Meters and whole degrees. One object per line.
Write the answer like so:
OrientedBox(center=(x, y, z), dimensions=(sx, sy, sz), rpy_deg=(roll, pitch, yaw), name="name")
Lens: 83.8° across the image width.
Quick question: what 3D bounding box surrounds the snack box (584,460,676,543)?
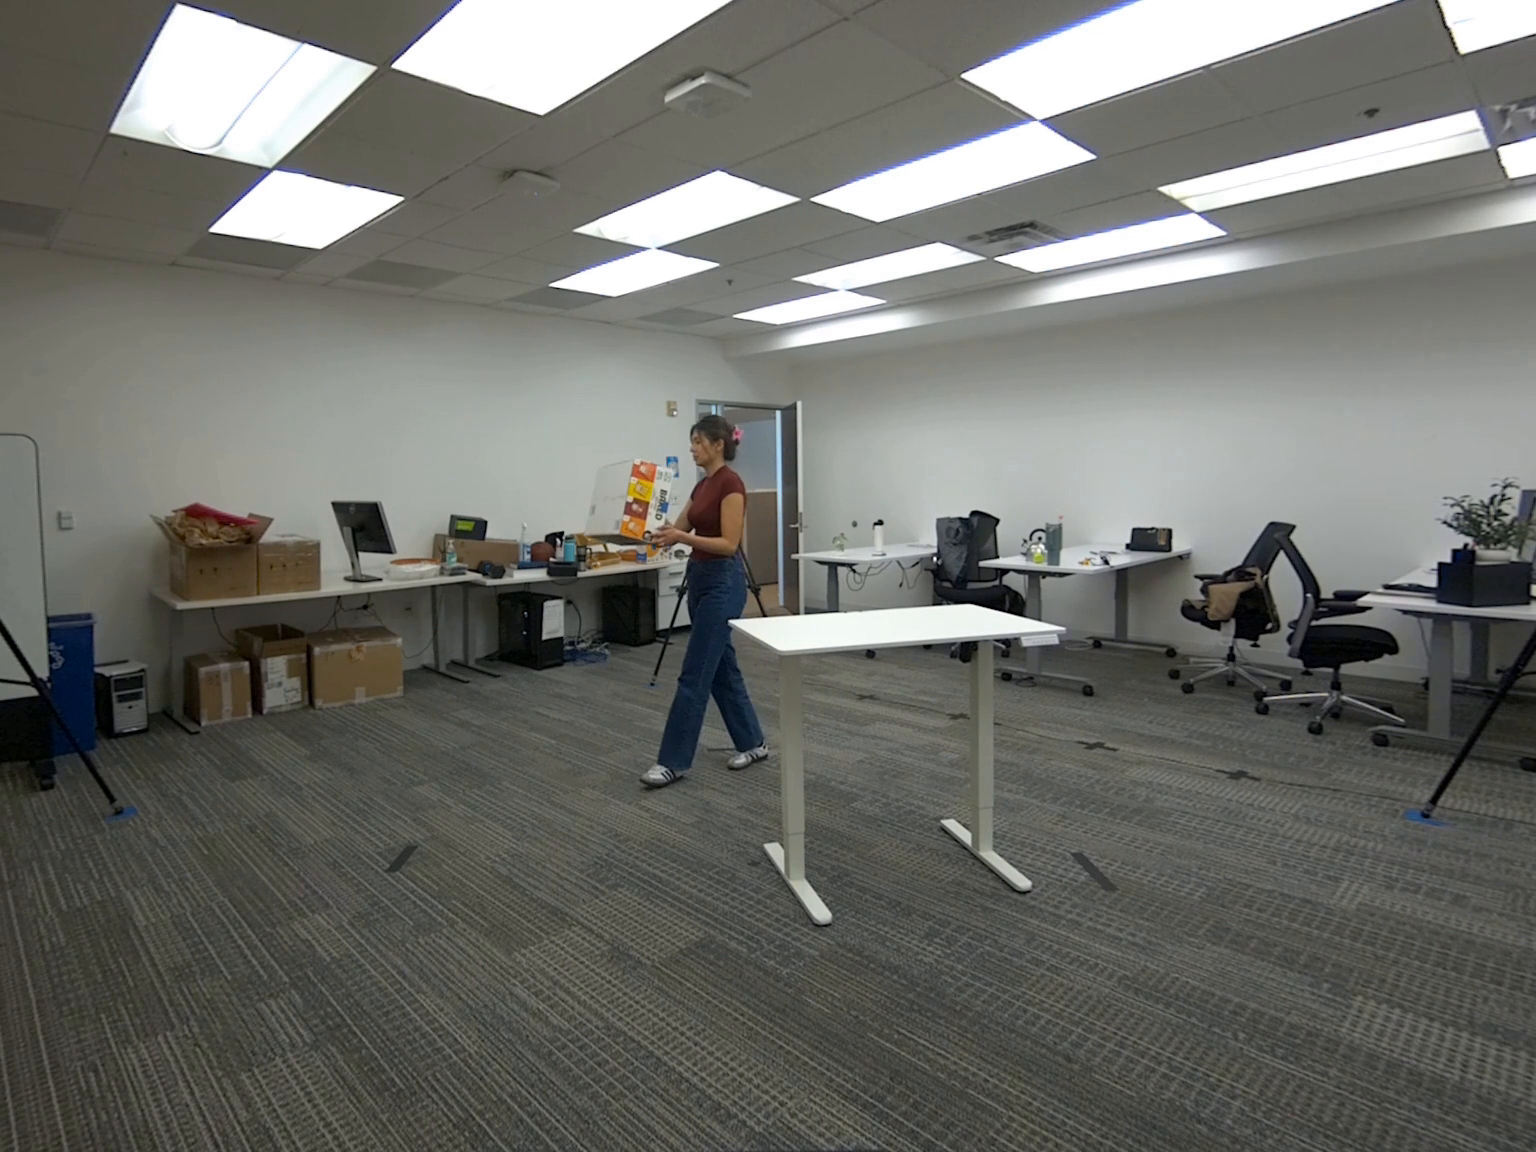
OrientedBox(center=(-0.634, -0.326, 3.864), dimensions=(0.199, 0.342, 0.415), rpy_deg=(15, -9, -32), name="snack box")
